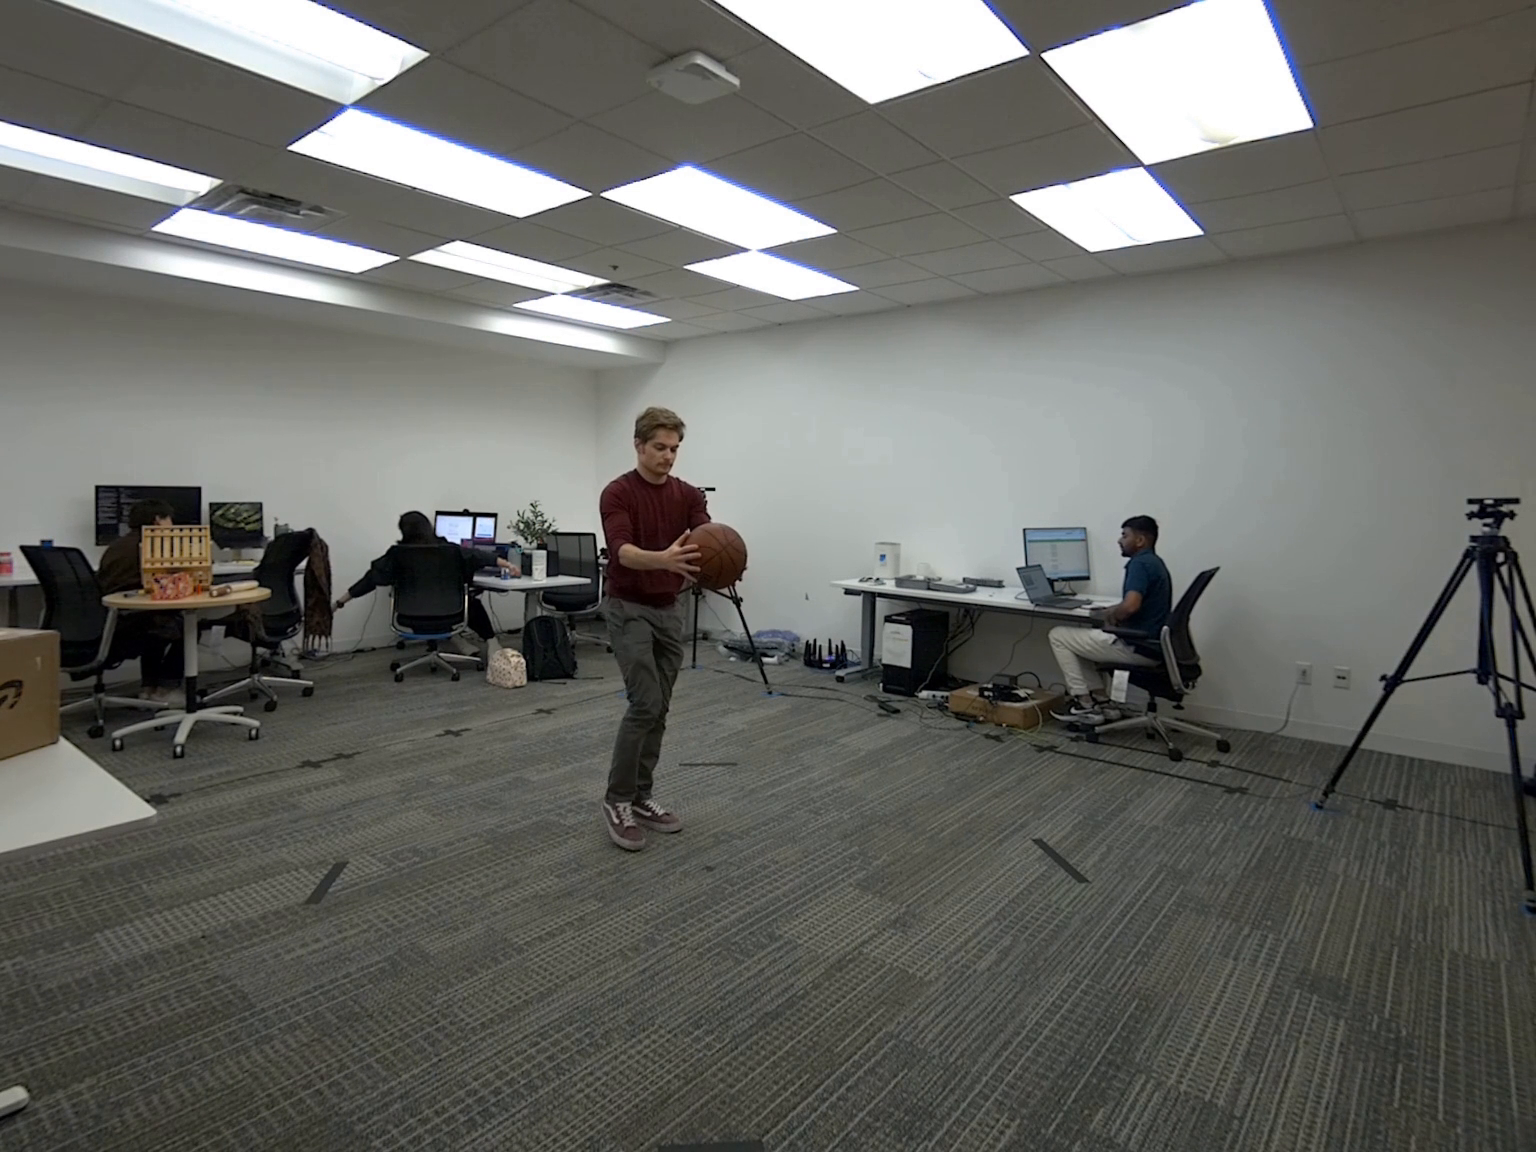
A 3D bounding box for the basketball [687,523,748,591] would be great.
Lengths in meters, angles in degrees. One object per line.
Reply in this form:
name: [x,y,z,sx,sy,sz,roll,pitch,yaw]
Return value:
basketball: [-0.198,-0.076,3.014,0.235,0.235,0.237,1,4,-2]
